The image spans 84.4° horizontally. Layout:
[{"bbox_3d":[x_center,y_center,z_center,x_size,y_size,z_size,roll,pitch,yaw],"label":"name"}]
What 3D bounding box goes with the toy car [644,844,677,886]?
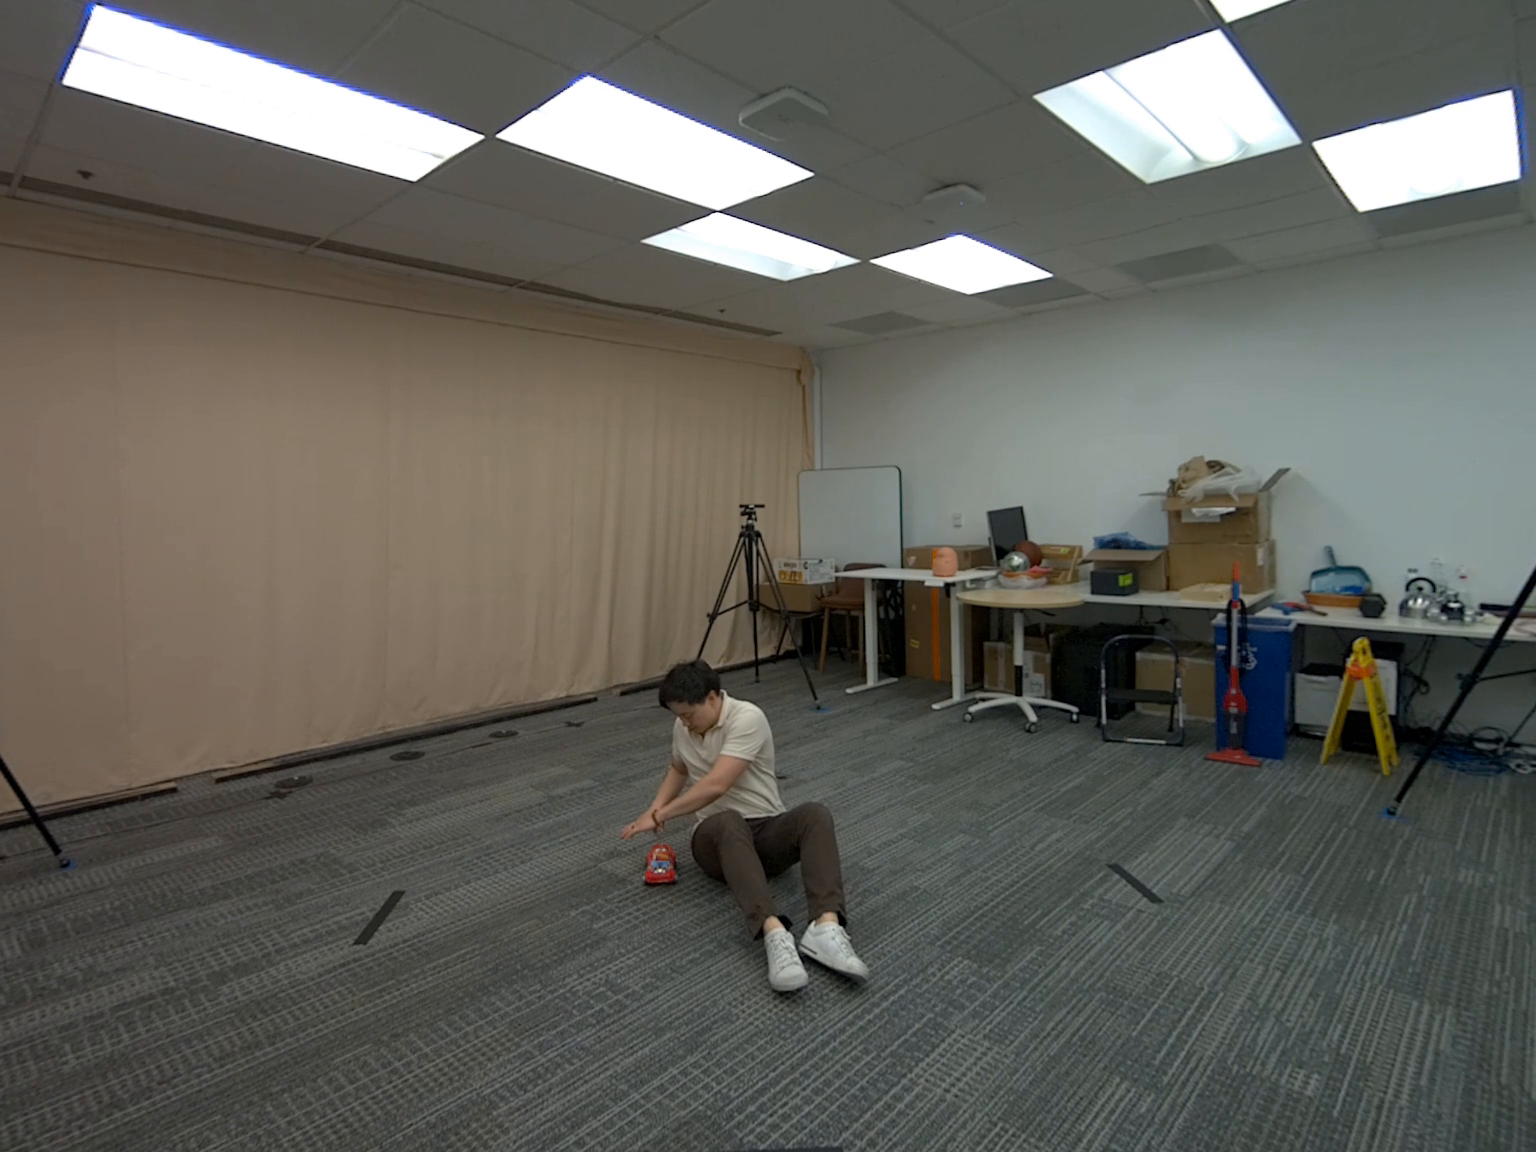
[{"bbox_3d":[-0.405,1.102,3.206,0.130,0.082,0.258,-3,17,-5],"label":"toy car"}]
